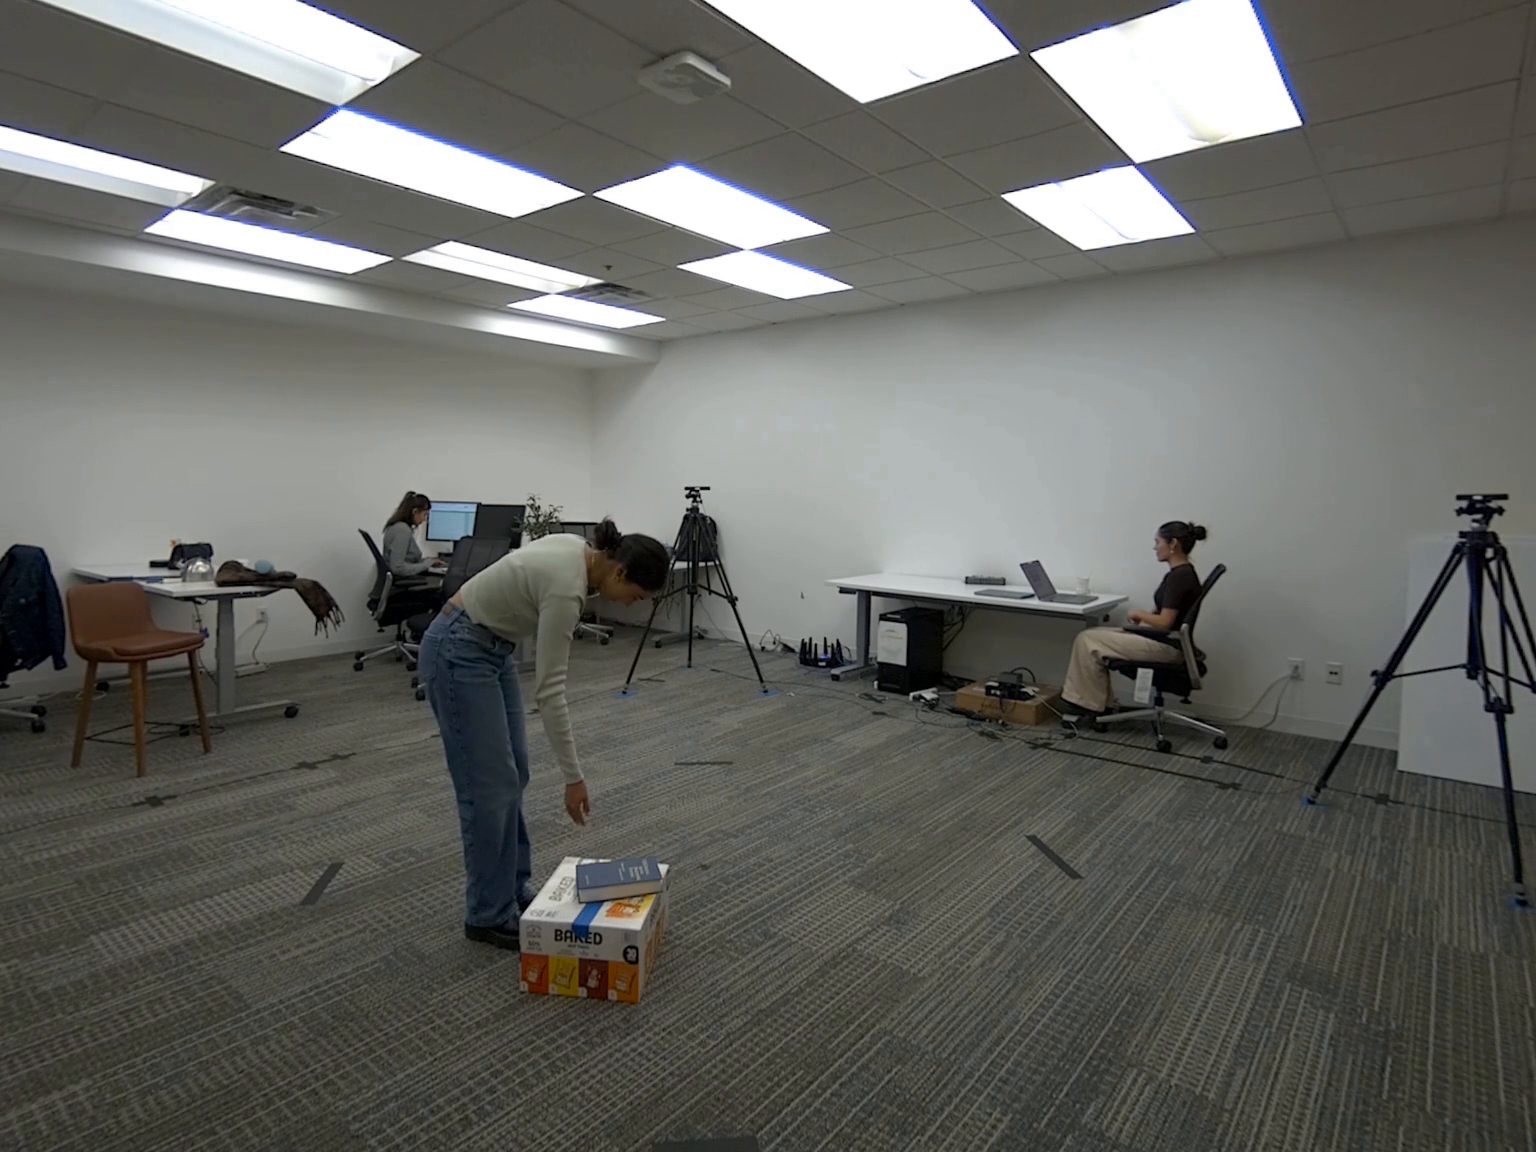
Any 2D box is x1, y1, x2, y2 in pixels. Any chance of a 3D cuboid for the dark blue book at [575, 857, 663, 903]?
[{"bbox_3d":[-0.456,0.907,2.524,0.242,0.045,0.167,-2,8,-14],"label":"dark blue book"}]
